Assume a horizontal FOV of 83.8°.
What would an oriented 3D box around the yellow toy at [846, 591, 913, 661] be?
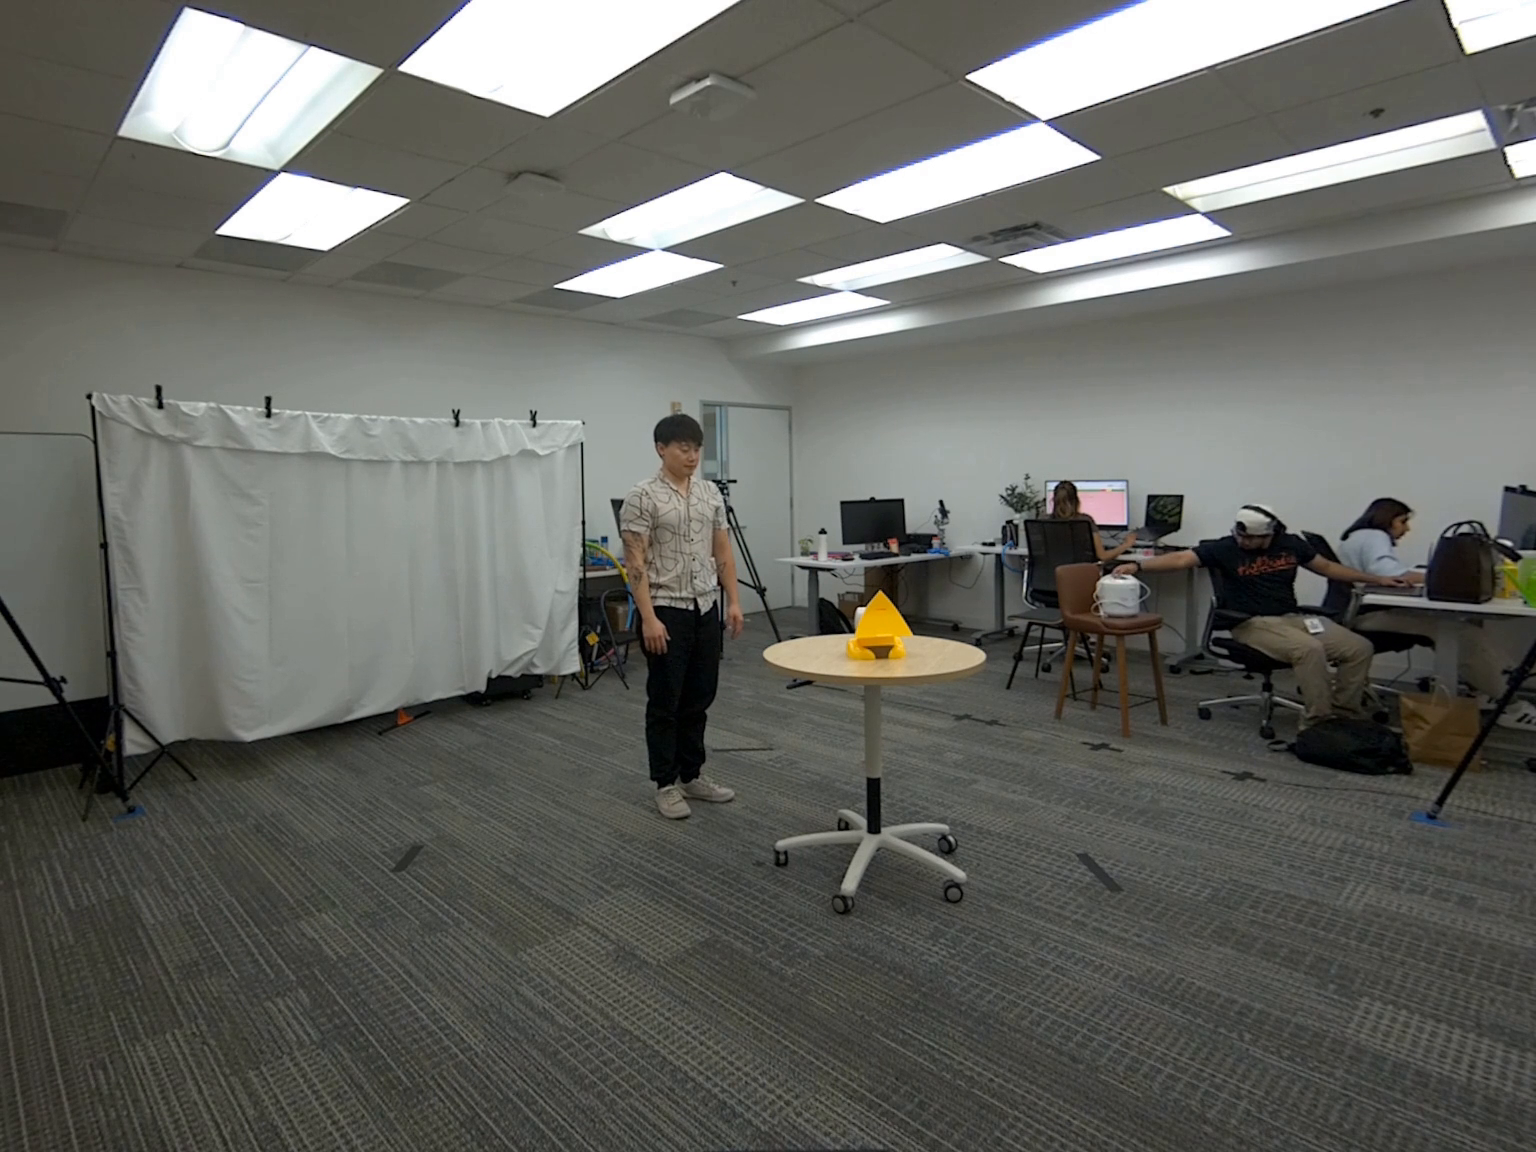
[{"bbox_3d":[0.372,0.158,2.952,0.203,0.230,0.195,-2,5,-9],"label":"yellow toy"}]
